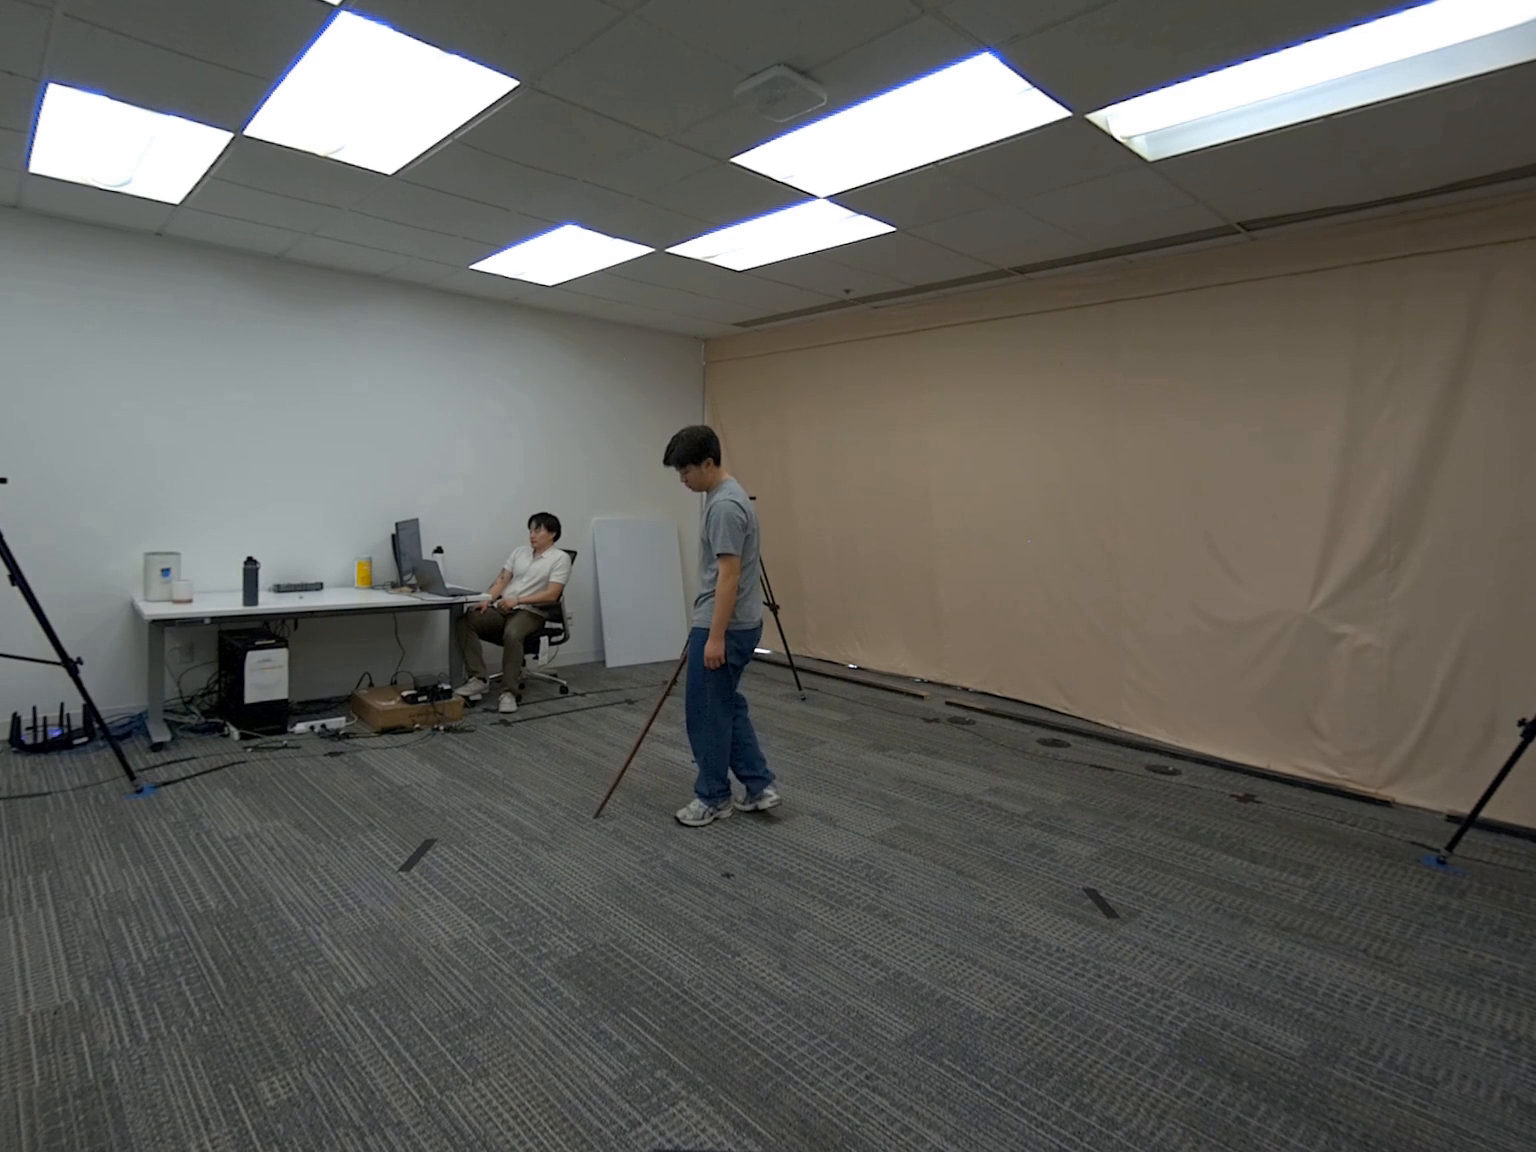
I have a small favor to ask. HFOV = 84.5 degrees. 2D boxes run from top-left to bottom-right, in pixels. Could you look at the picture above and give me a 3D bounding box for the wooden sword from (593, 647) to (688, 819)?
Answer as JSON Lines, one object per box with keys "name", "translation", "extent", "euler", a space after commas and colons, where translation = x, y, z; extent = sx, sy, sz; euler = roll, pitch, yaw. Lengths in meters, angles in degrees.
{"name": "wooden sword", "translation": [-0.510, 0.624, 3.816], "extent": [0.025, 1.030, 0.050], "euler": [17, -26, 29]}
